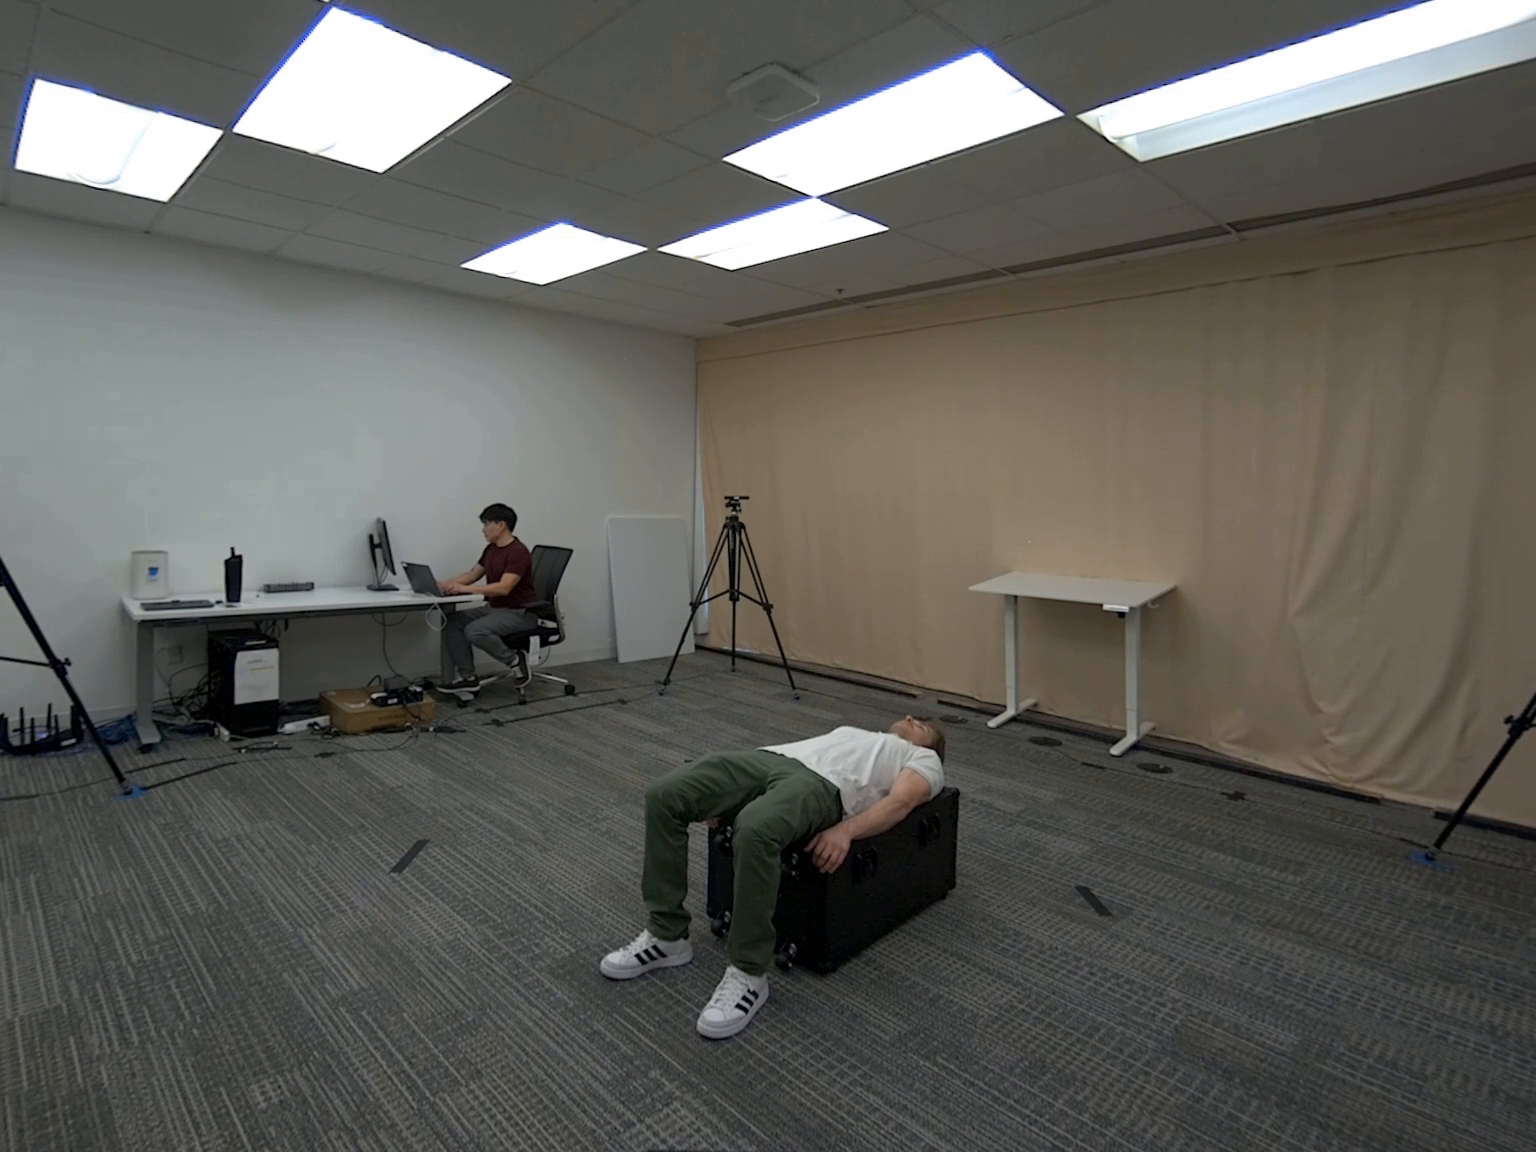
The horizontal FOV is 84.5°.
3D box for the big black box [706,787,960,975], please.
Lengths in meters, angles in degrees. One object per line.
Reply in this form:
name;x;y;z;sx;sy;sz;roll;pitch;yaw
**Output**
big black box;0.203;0.947;2.843;0.537;0.384;0.849;6;7;42
